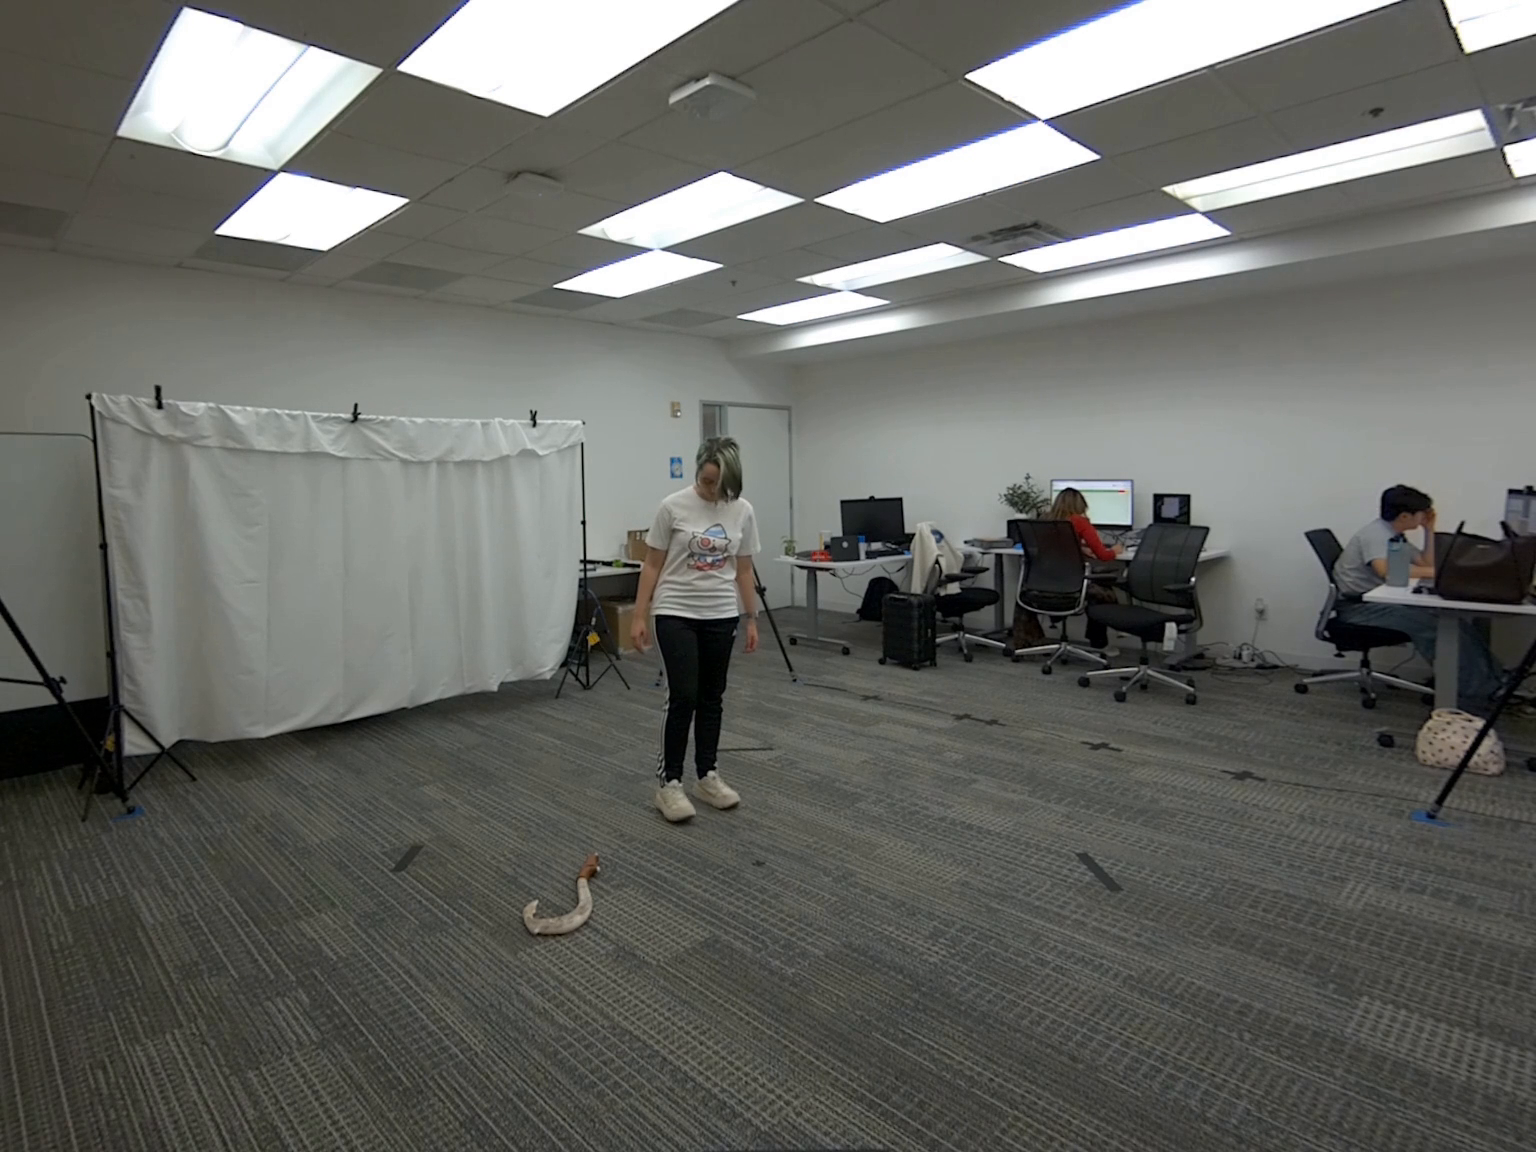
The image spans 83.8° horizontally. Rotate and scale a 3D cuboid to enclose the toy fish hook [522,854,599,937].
[{"bbox_3d":[-0.680,1.062,2.885,0.225,0.048,0.509,-1,6,-1],"label":"toy fish hook"}]
